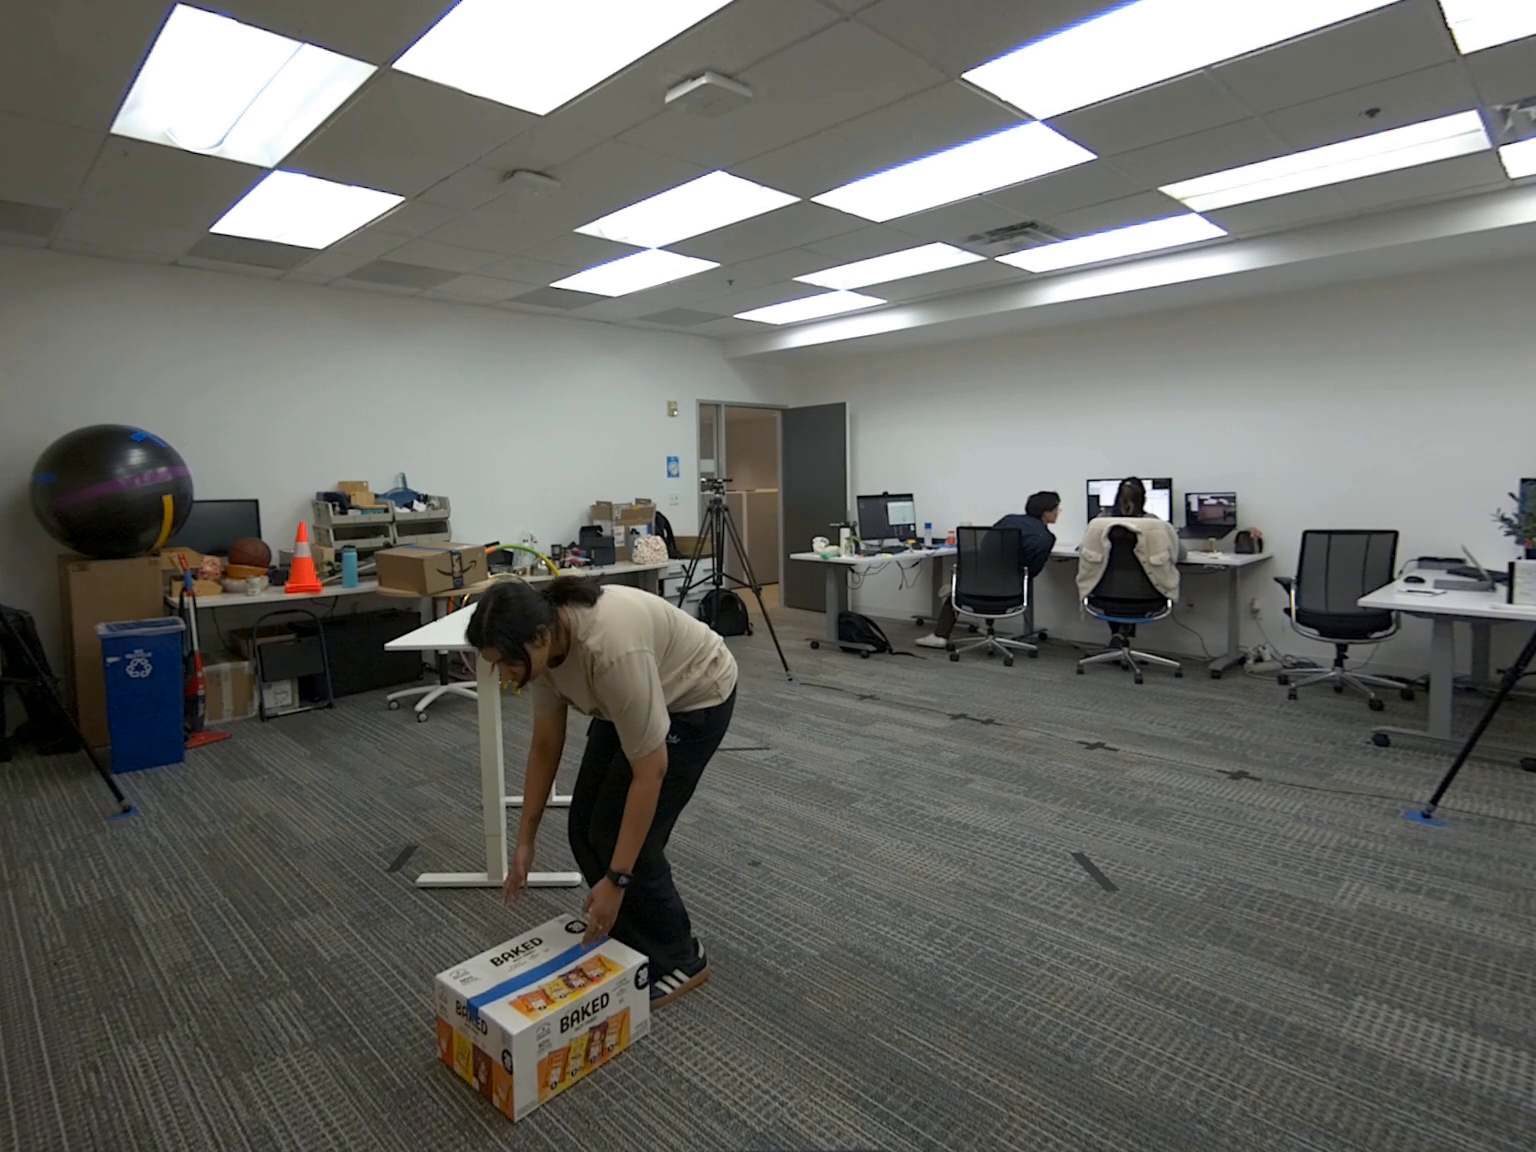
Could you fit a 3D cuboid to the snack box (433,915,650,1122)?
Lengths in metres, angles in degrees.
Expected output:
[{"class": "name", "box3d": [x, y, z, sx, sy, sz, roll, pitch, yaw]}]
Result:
[{"class": "snack box", "box3d": [-0.551, 1.071, 2.122, 0.351, 0.205, 0.395, 4, 8, 41]}]
